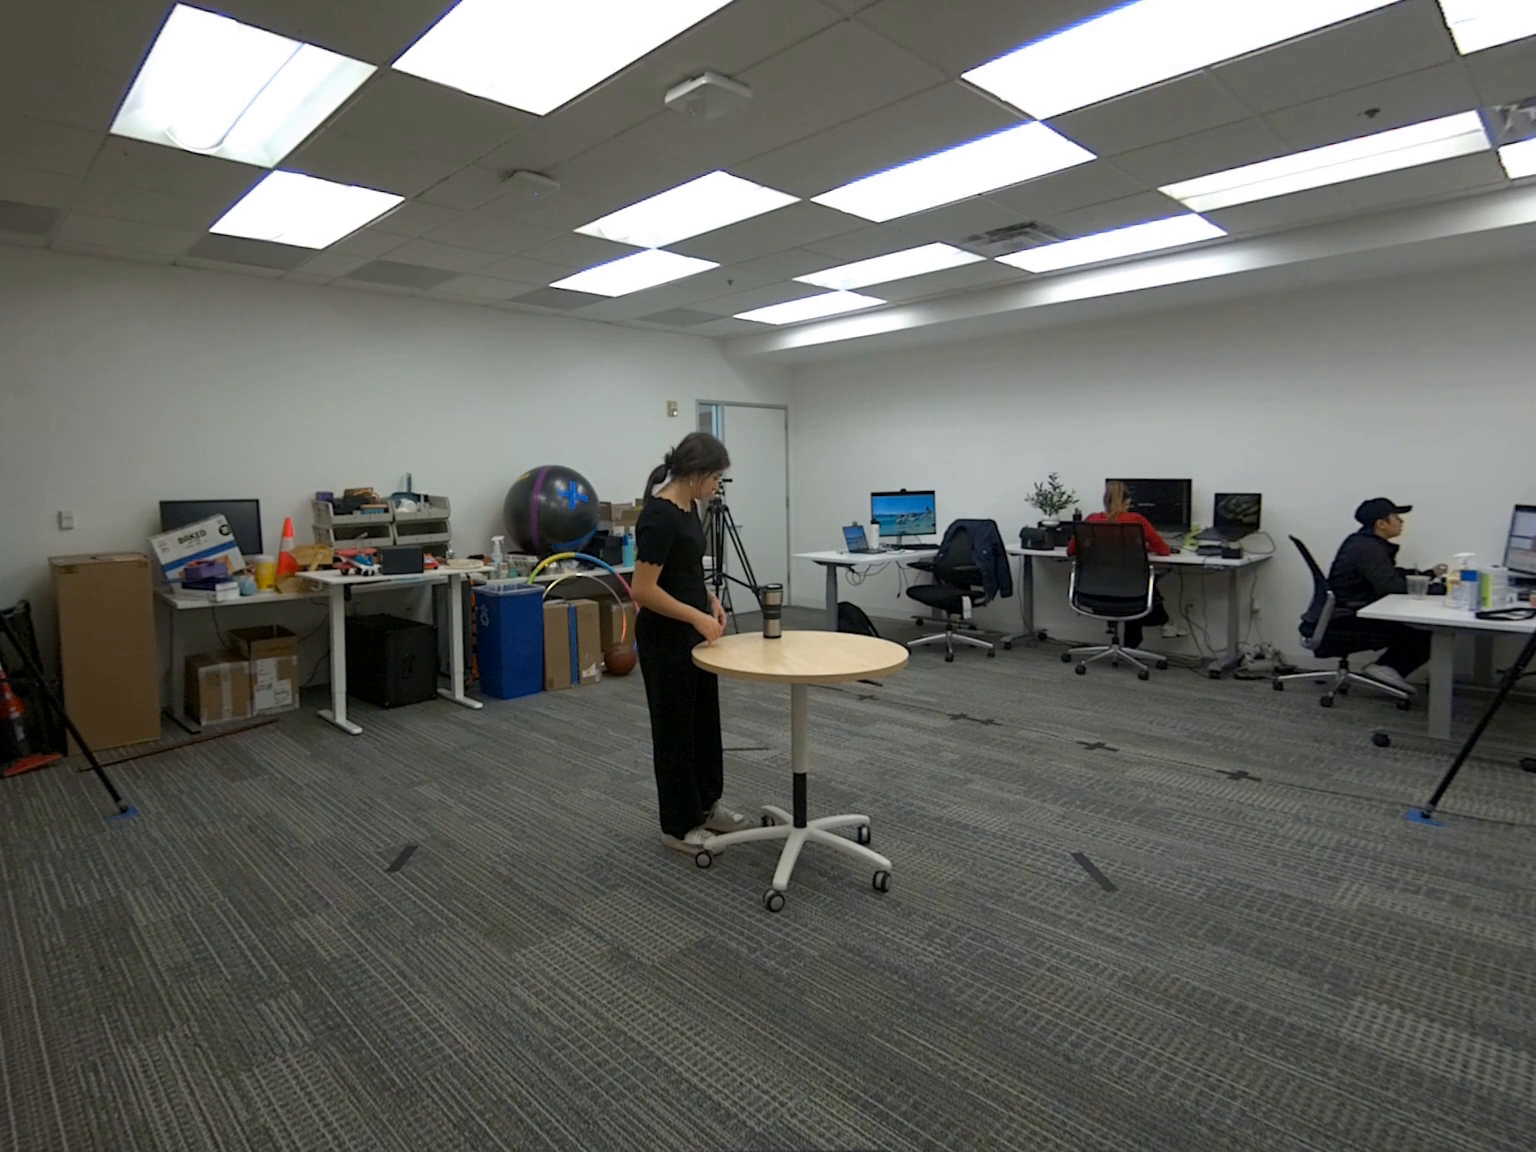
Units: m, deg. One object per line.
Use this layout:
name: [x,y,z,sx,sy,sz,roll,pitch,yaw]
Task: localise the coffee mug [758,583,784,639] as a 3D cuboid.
coffee mug: [0.026,0.137,3.311,0.119,0.202,0.090,-8,3,-42]
